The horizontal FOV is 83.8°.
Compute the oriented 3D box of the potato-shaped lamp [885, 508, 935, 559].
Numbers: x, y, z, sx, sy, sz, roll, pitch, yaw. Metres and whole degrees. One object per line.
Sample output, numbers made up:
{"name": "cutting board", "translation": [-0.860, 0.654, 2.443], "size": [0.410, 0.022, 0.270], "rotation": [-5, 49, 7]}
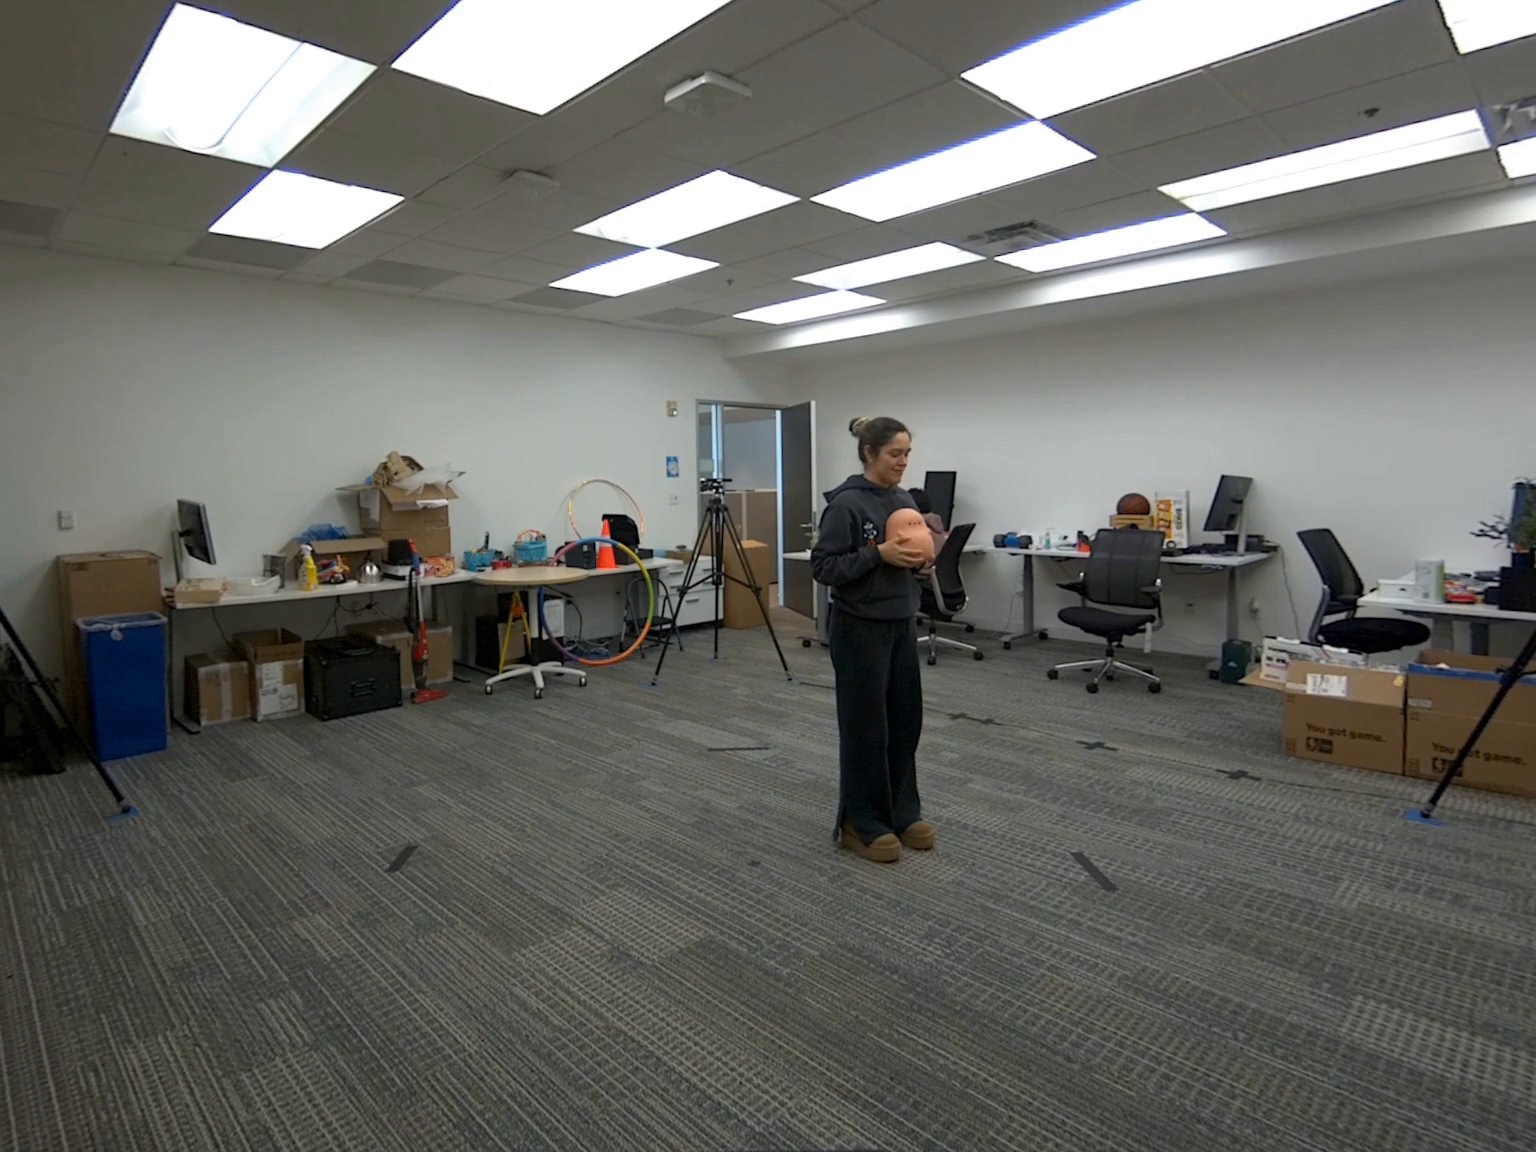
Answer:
{"name": "potato-shaped lamp", "translation": [0.481, -0.127, 3.067], "size": [0.166, 0.203, 0.165], "rotation": [-29, -33, 36]}
